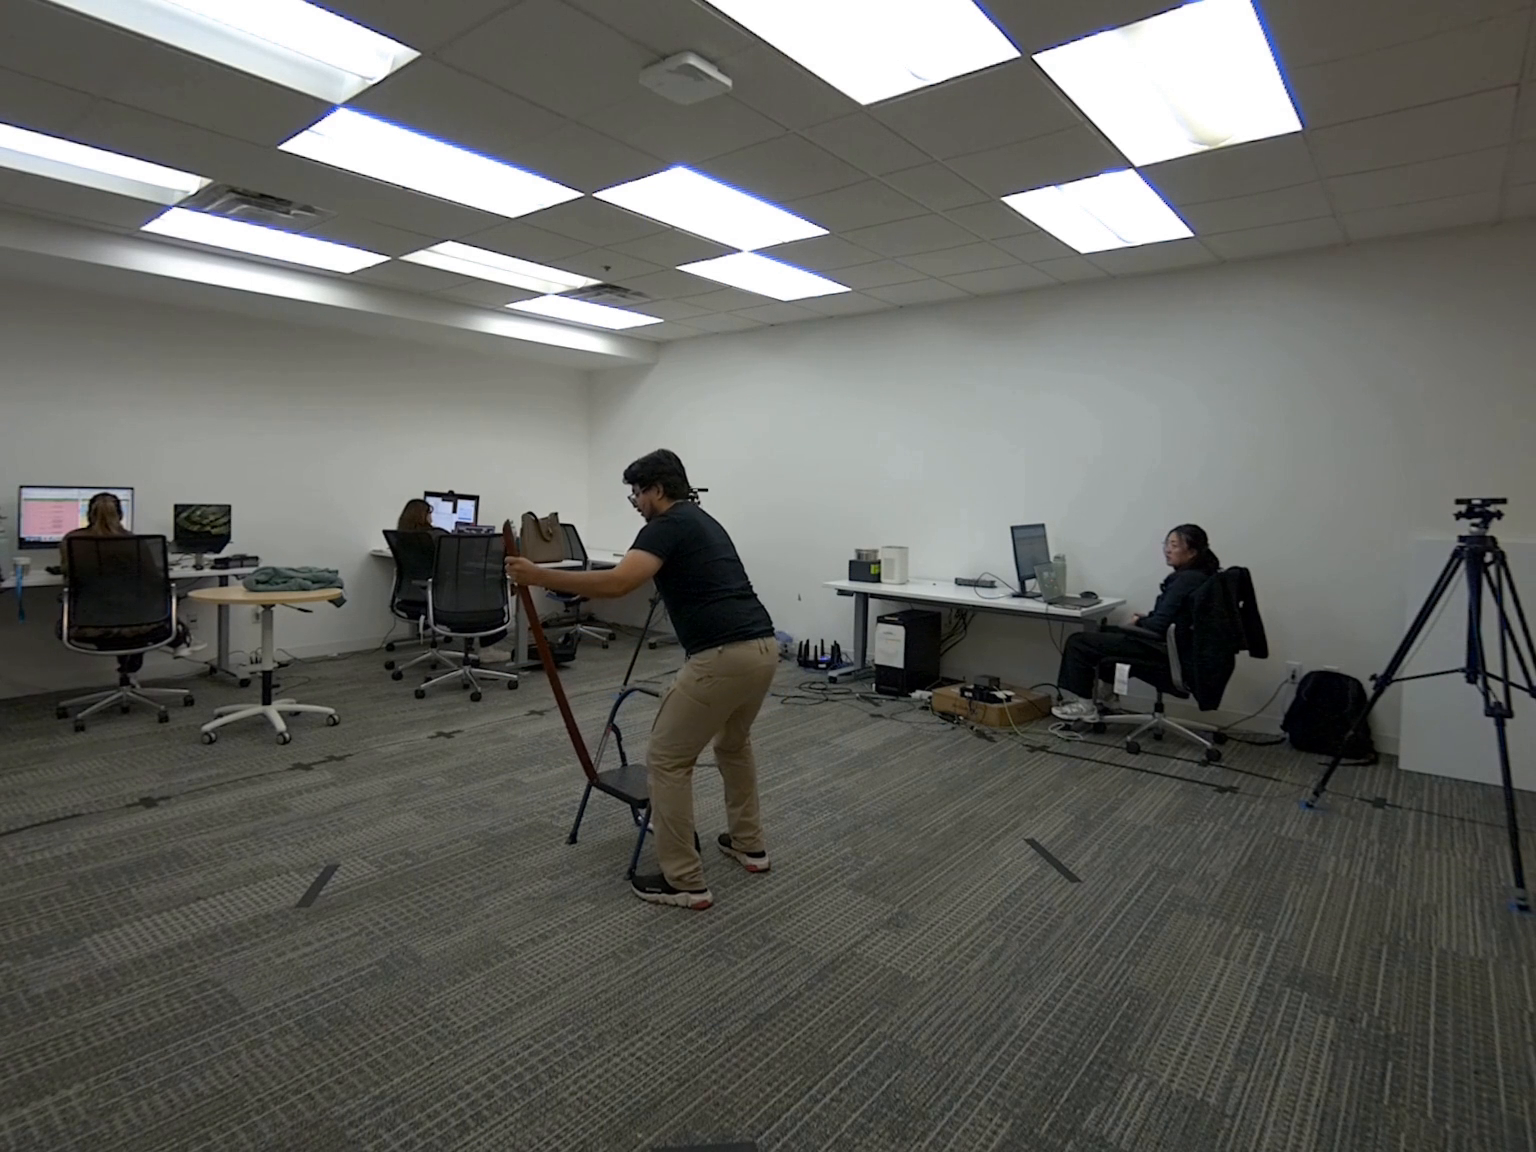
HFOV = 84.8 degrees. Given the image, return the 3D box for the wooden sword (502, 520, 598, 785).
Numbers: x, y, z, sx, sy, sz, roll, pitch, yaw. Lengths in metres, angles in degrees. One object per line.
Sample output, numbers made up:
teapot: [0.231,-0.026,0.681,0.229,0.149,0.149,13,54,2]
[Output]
wooden sword: [-0.749,0.303,2.862,0.050,1.000,0.025,-24,24,-26]
